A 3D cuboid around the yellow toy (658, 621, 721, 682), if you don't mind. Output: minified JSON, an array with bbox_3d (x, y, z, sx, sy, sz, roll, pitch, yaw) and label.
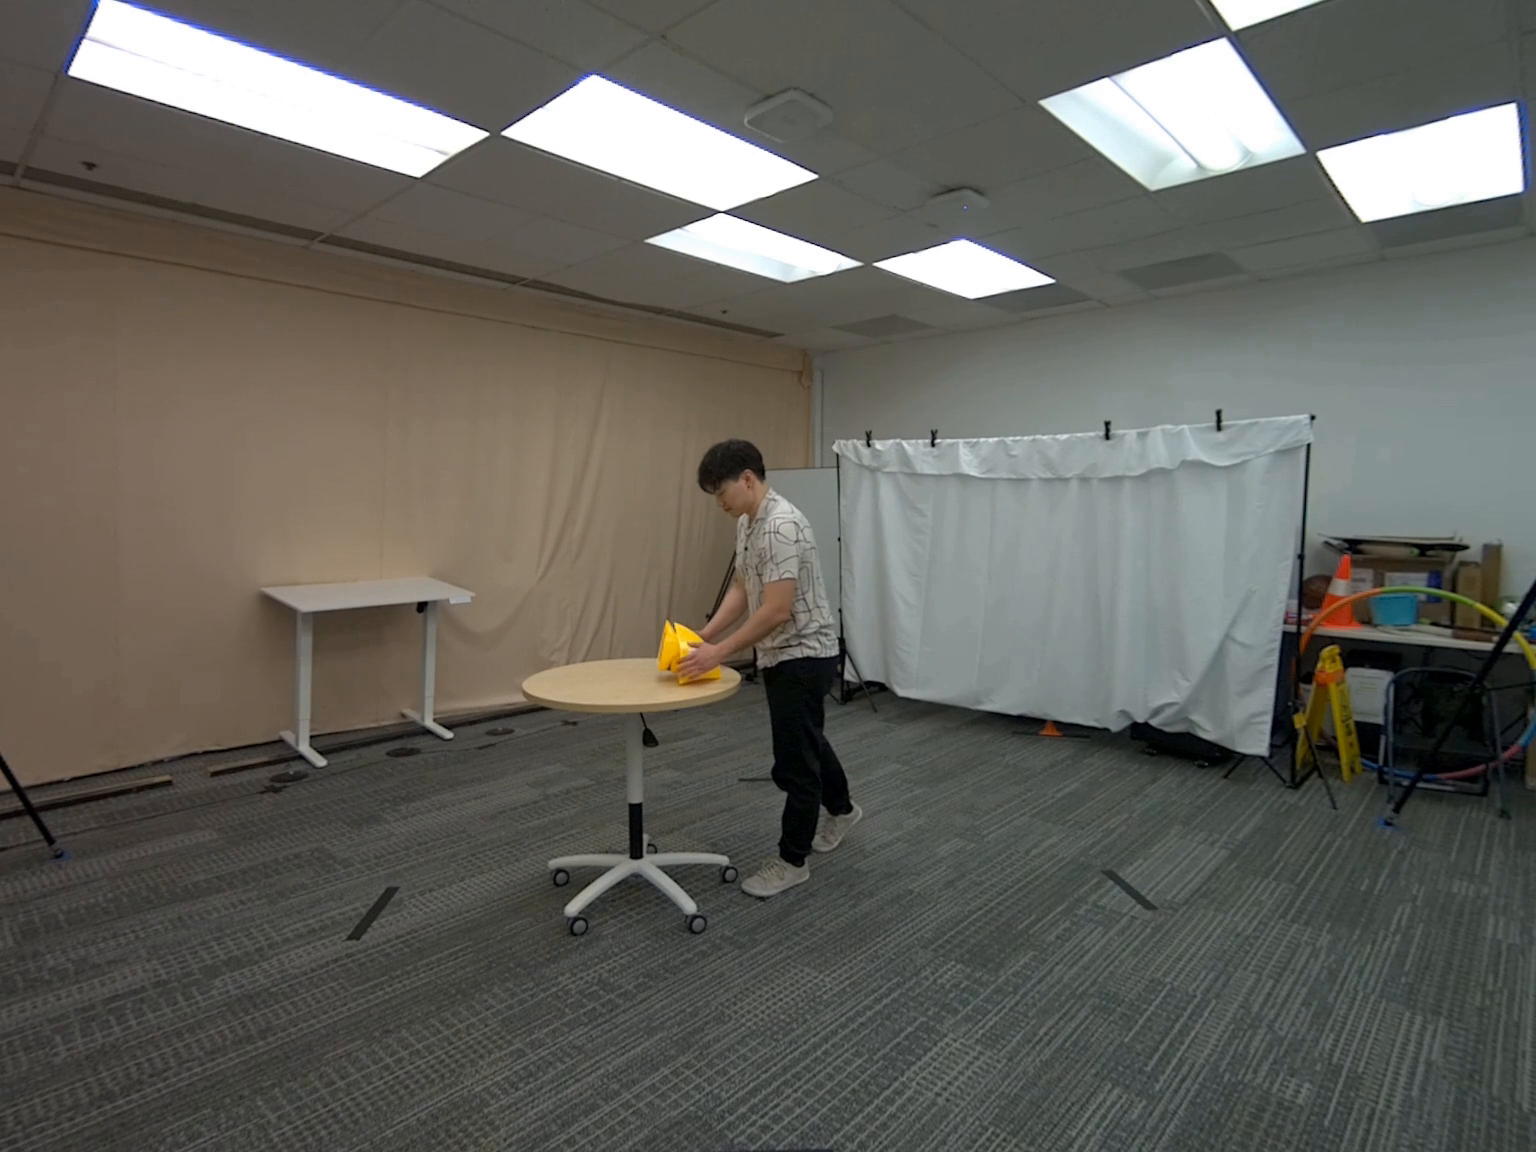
[{"bbox_3d":[-0.264,0.276,2.959,0.228,0.193,0.207,11,3,-9],"label":"yellow toy"}]
